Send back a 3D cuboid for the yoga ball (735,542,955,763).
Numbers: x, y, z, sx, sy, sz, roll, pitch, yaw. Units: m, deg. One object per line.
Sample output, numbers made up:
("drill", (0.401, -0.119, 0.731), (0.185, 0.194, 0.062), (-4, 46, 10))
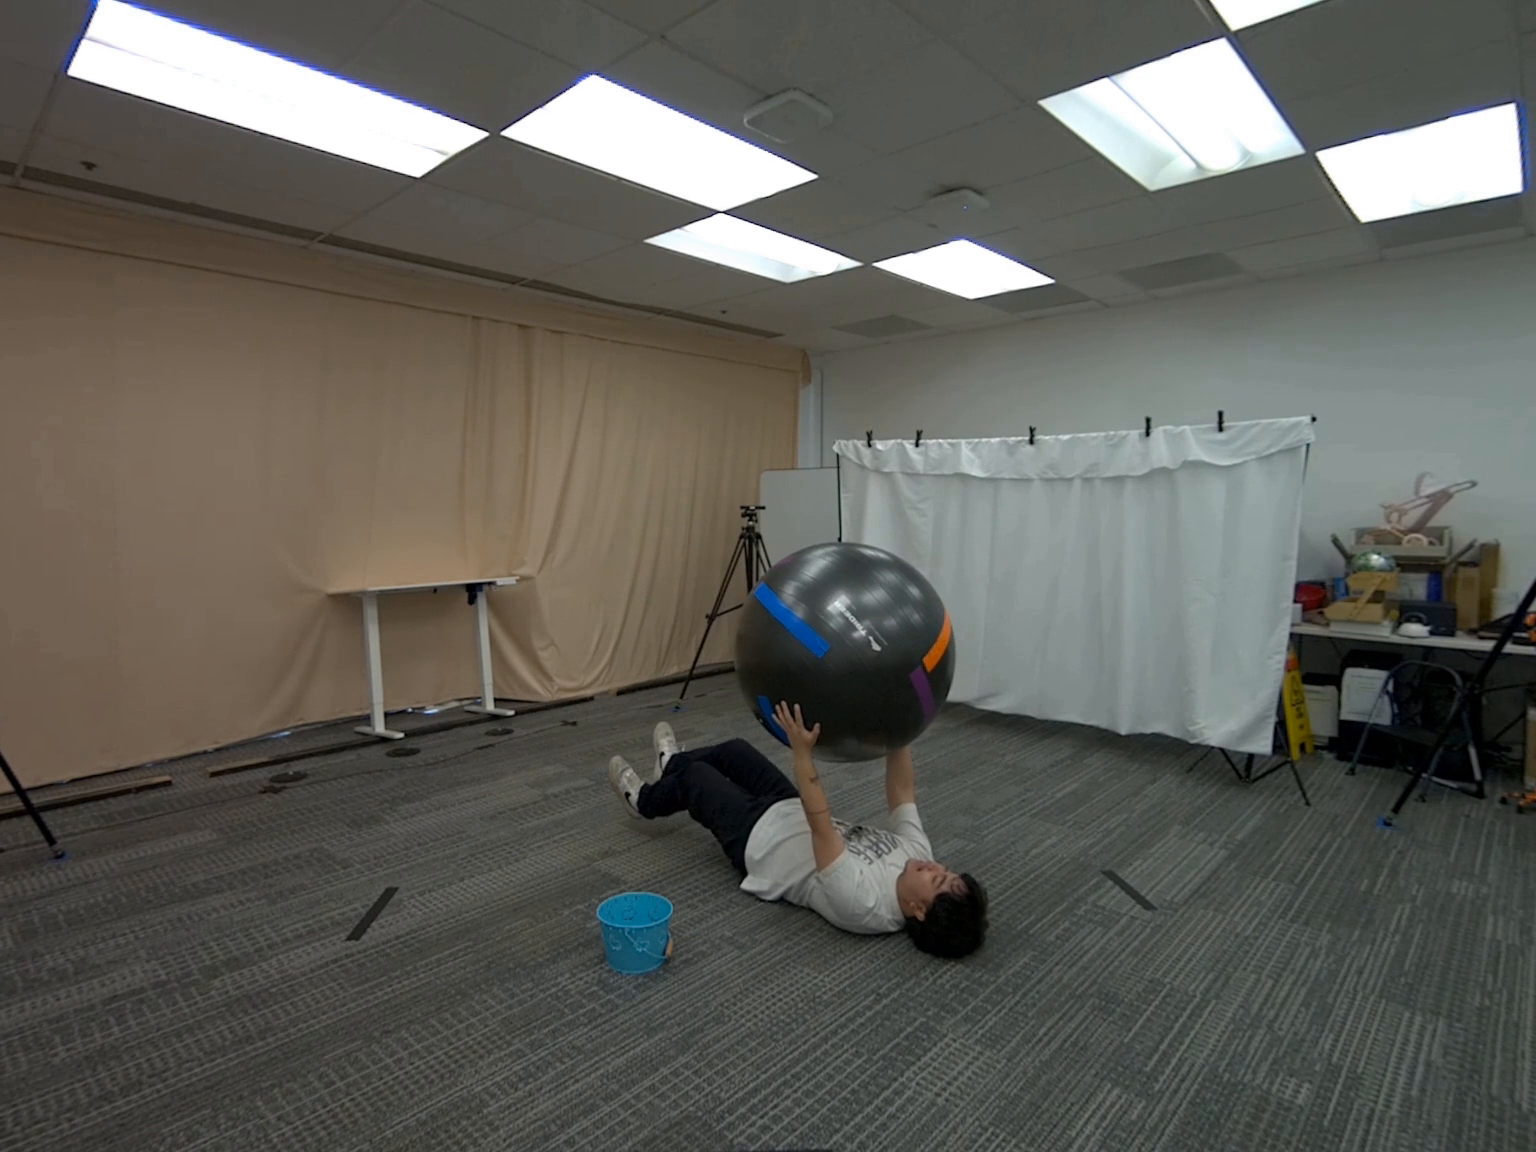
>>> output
("yoga ball", (0.264, 0.268, 2.924), (0.757, 0.756, 0.761), (0, 4, -2))
